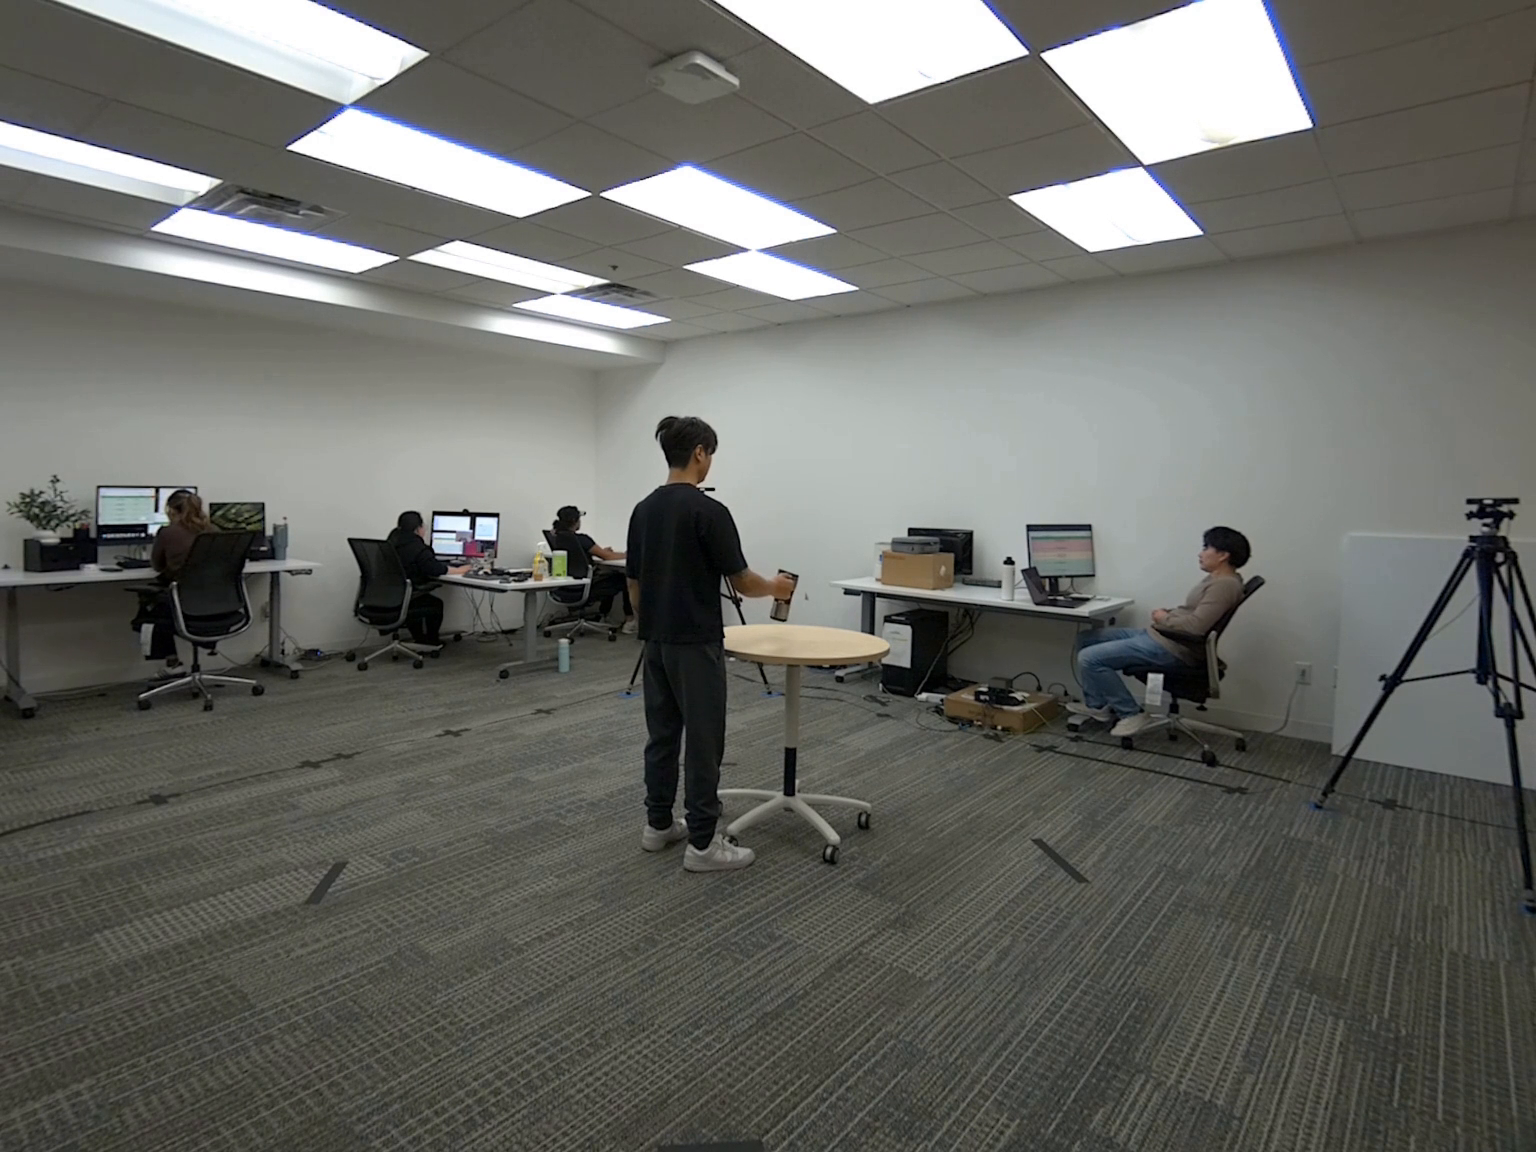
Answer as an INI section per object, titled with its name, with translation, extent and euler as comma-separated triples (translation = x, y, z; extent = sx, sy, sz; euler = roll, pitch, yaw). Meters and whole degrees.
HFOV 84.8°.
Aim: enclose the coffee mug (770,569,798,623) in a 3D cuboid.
[coffee mug]
translation = 0.034, 0.078, 3.441
extent = 0.091, 0.202, 0.117
euler = 20, 6, 39
